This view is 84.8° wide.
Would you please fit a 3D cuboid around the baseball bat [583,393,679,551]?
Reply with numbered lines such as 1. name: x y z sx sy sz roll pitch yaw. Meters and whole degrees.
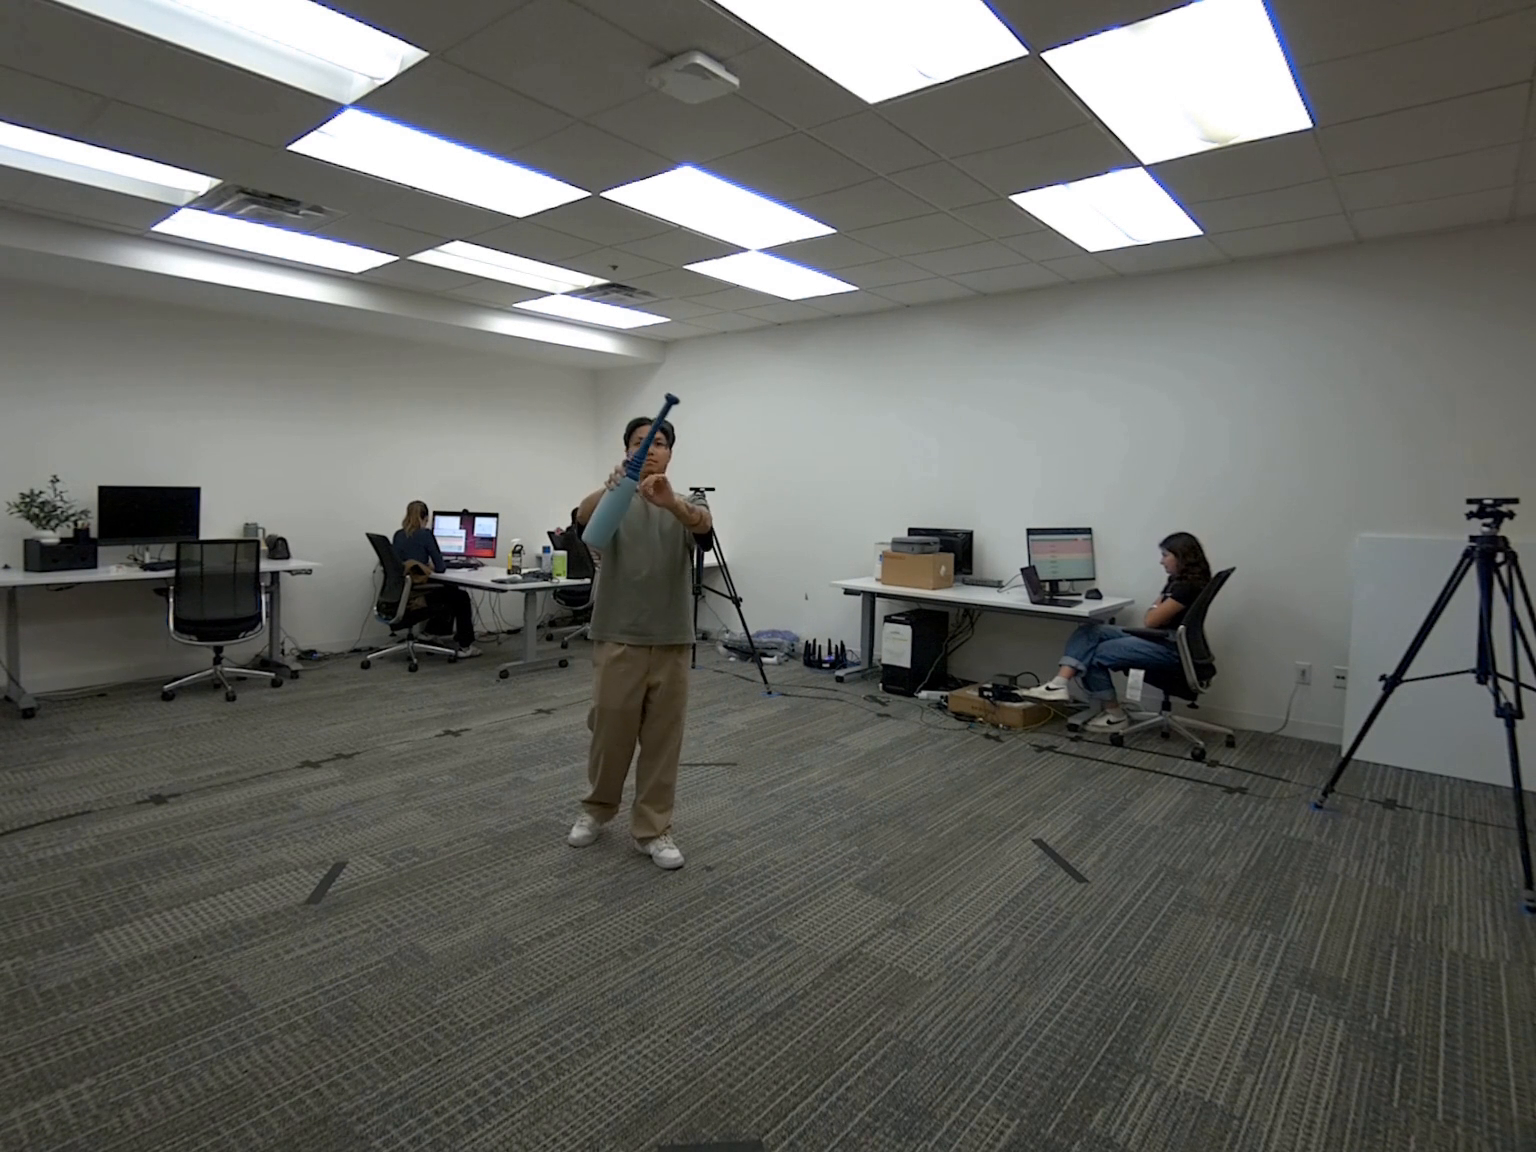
1. baseball bat: -0.439 -0.336 2.675 0.088 0.542 0.090 29 5 -5
